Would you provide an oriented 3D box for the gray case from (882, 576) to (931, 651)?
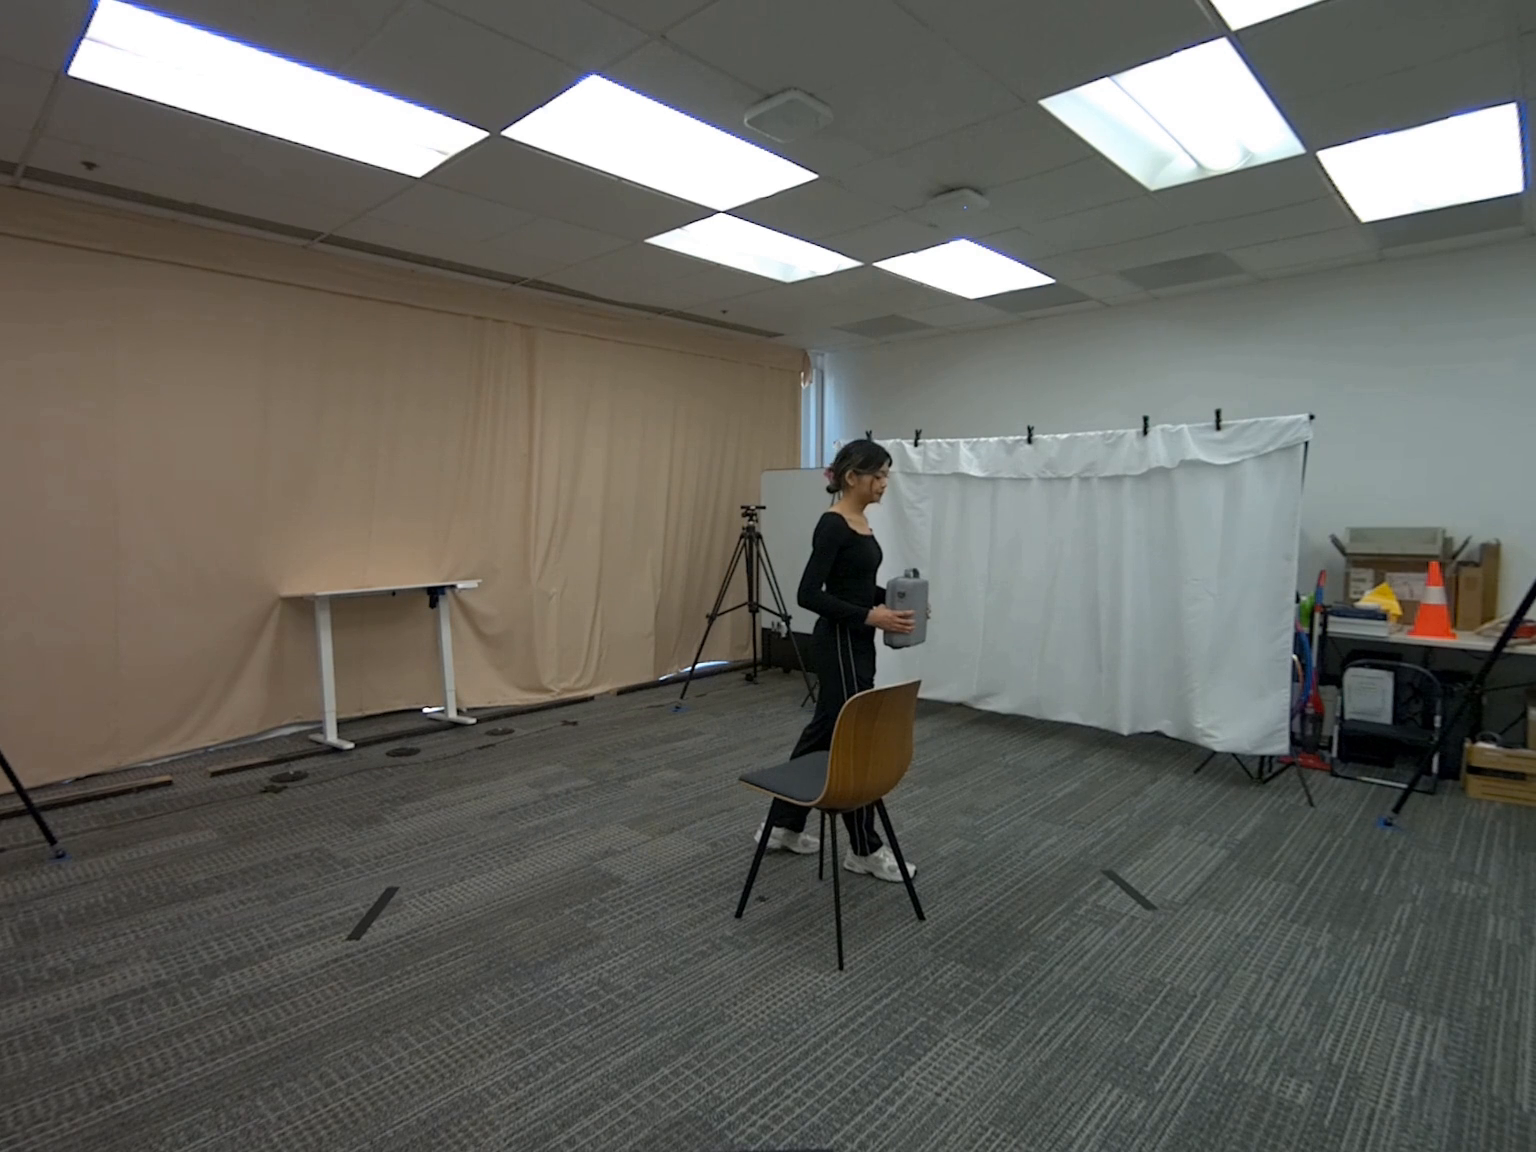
[{"bbox_3d":[0.515,0.130,3.123,0.107,0.260,0.250,5,3,28],"label":"gray case"}]
